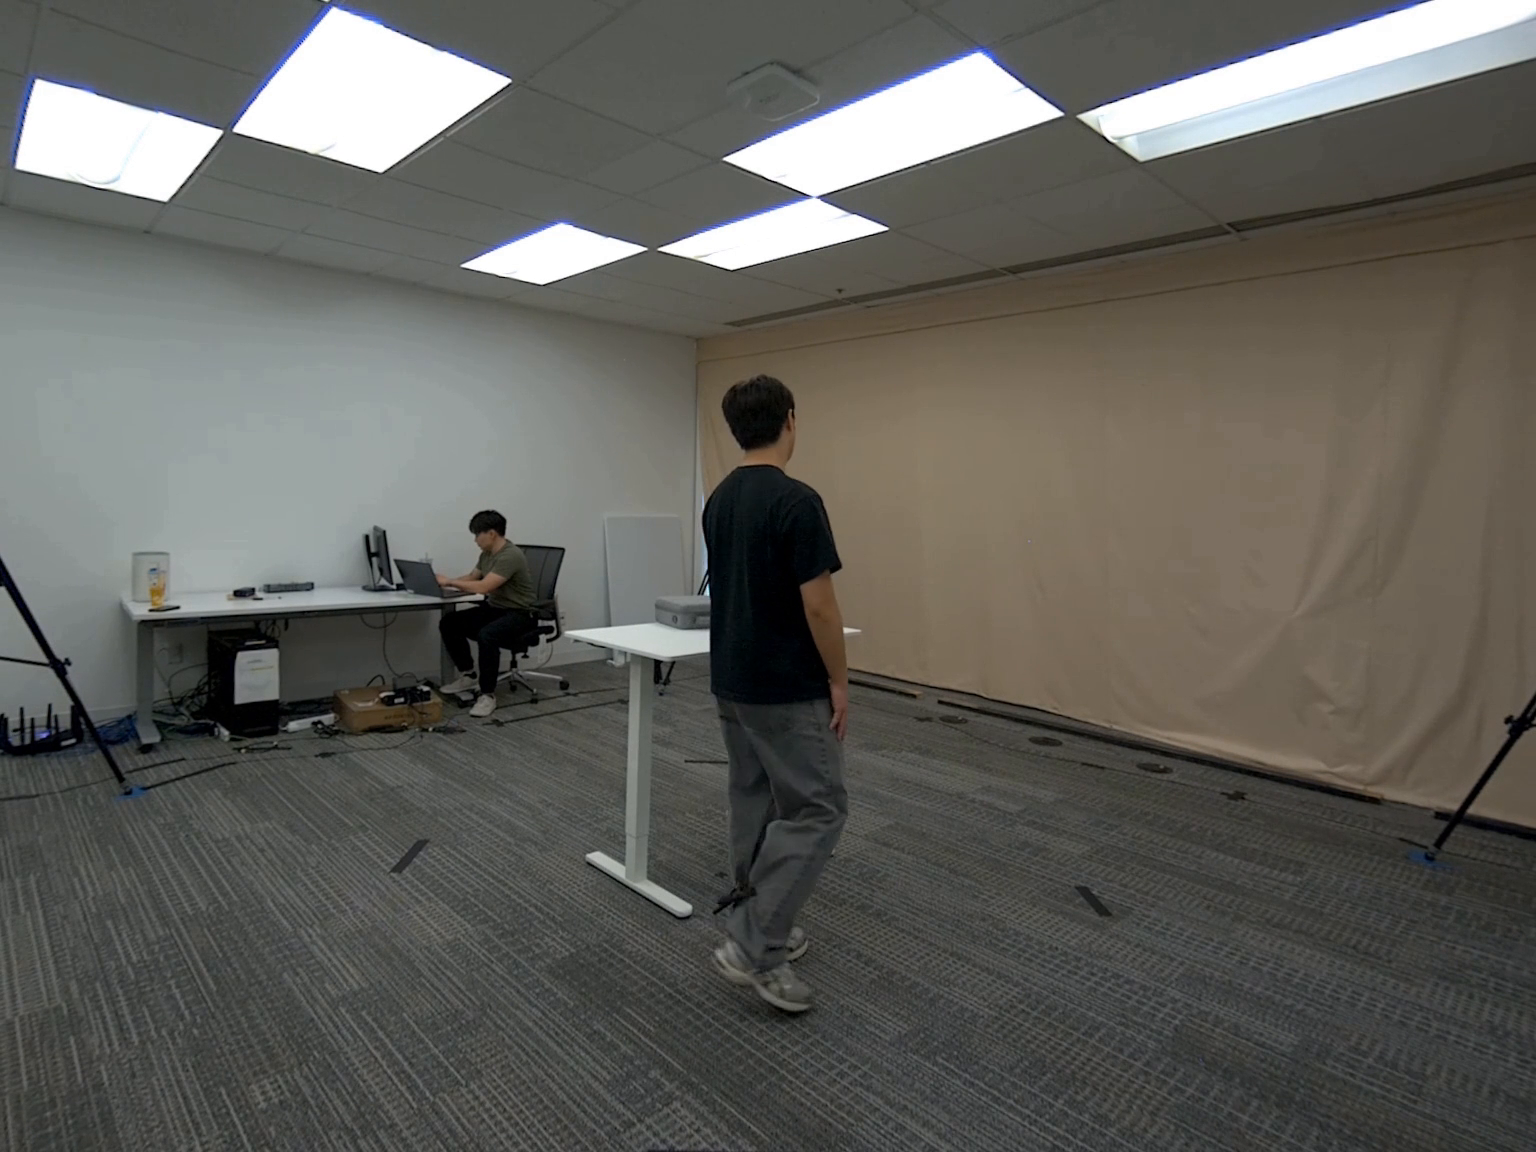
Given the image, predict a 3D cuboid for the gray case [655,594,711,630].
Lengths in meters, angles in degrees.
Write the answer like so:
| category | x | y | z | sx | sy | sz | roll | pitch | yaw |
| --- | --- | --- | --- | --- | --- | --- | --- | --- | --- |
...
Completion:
| category | x | y | z | sx | sy | sz | roll | pitch | yaw |
| --- | --- | --- | --- | --- | --- | --- | --- | --- | --- |
| gray case | -0.298 | 0.141 | 3.360 | 0.251 | 0.104 | 0.267 | -1 | 6 | -32 |
